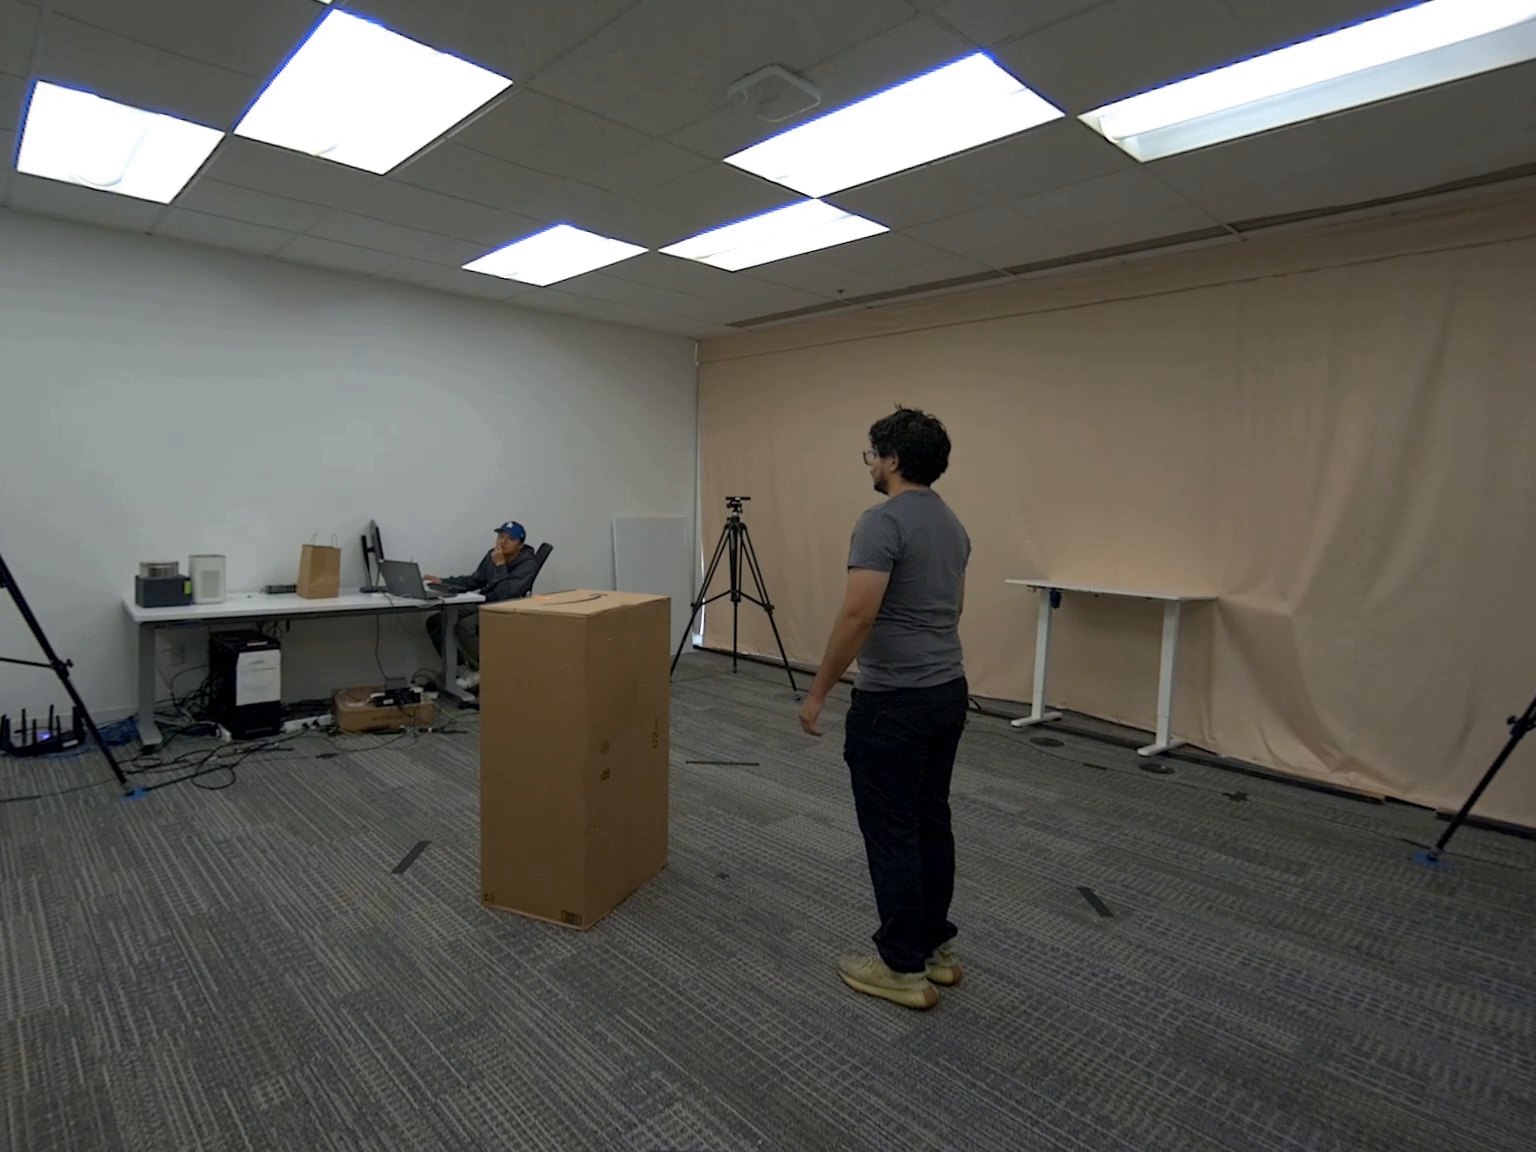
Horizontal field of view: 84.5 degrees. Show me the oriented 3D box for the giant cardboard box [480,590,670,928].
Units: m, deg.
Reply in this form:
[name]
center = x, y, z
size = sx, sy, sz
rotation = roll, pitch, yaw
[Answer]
[giant cardboard box]
center = -0.675, 0.598, 2.999
size = 0.455, 1.024, 0.575
rotation = 3, 4, 22
